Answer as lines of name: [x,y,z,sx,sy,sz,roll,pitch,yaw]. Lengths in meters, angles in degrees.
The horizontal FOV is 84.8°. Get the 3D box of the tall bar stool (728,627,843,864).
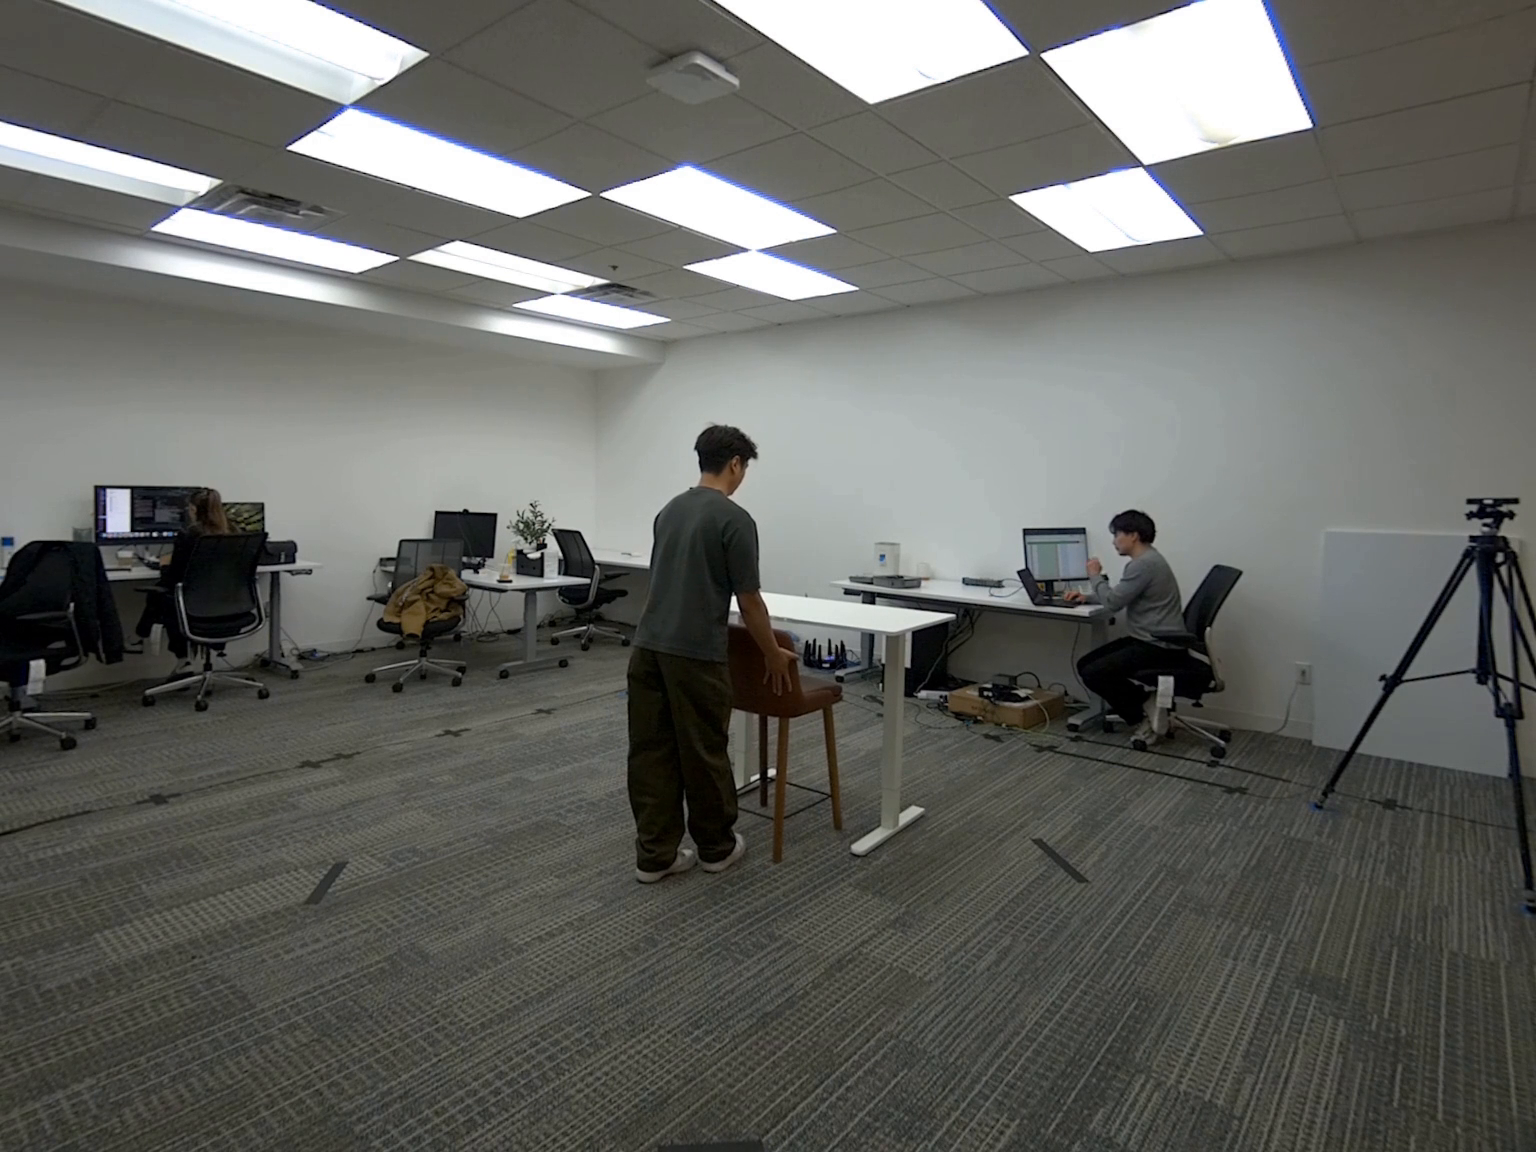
tall bar stool: [0.010,0.598,3.426,0.472,0.885,0.455,5,7,38]
